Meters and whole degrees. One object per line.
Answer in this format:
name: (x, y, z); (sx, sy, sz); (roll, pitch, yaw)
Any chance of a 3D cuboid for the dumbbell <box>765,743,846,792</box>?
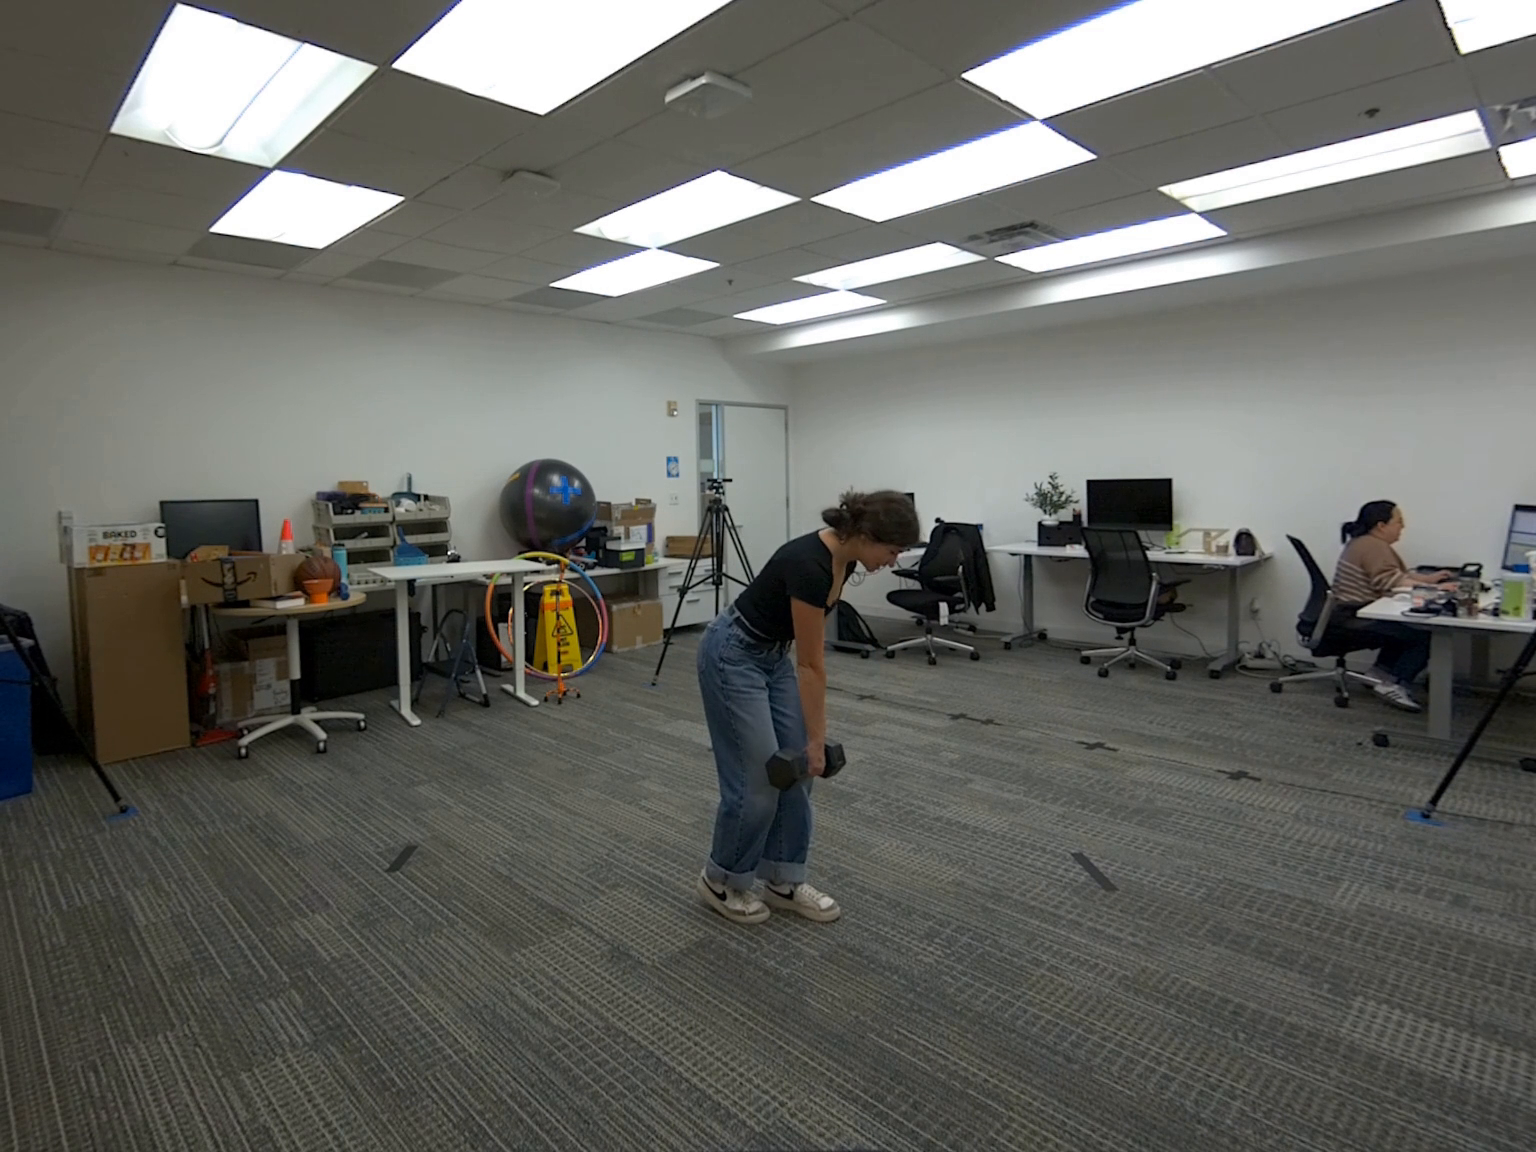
dumbbell: (0.115, 0.577, 2.616); (0.112, 0.122, 0.285); (48, 27, 25)
